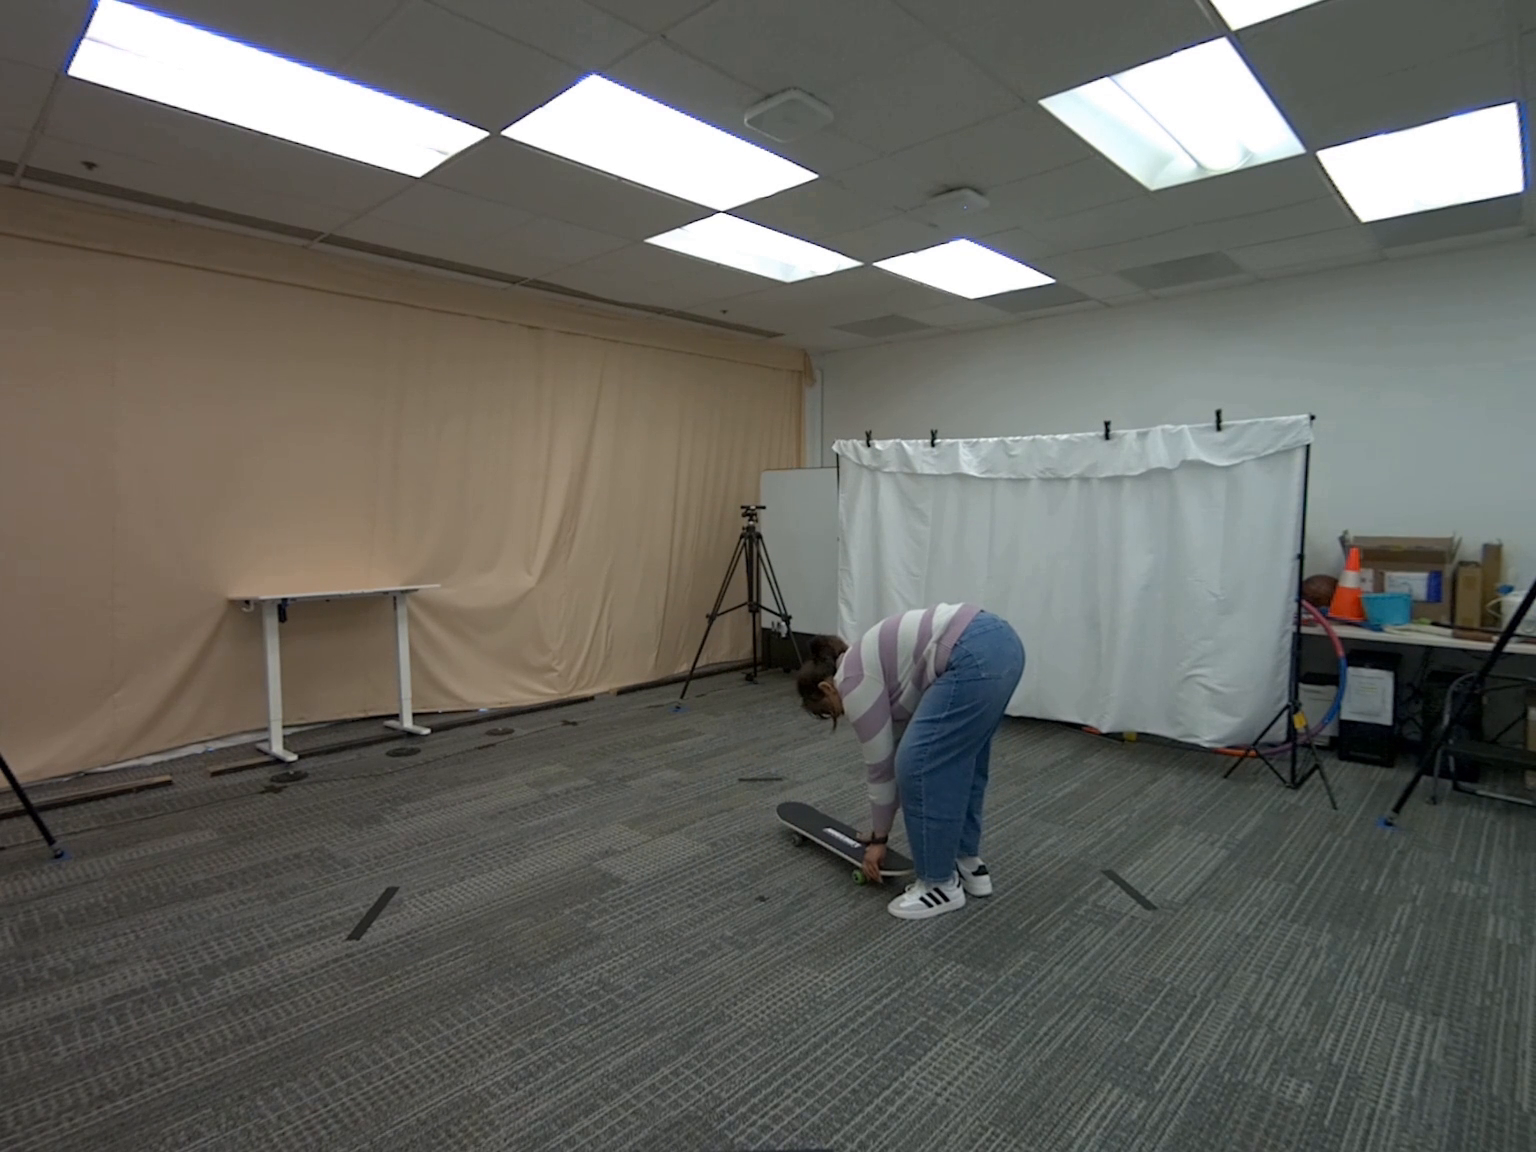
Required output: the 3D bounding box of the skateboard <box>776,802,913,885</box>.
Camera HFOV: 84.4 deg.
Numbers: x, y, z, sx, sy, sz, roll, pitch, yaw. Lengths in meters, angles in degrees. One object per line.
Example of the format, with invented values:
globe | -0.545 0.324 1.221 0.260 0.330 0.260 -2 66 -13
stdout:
skateboard | 0.295 1.053 3.304 0.188 0.110 0.809 -2 5 -32
